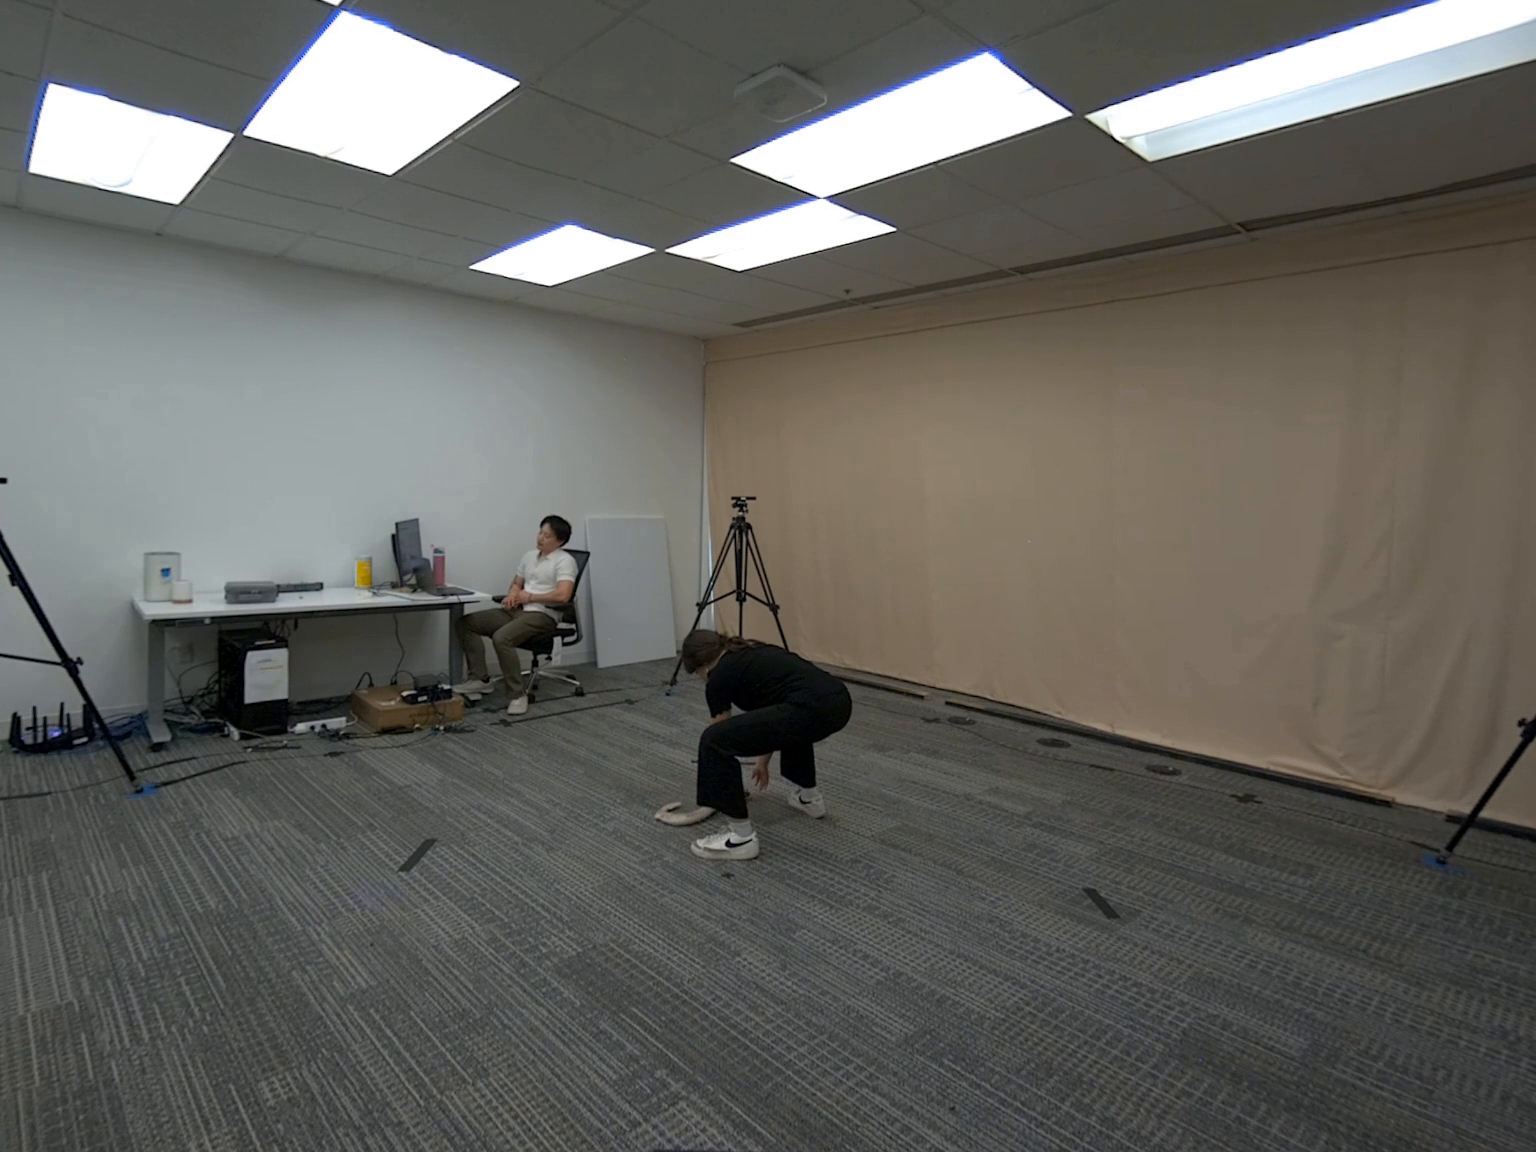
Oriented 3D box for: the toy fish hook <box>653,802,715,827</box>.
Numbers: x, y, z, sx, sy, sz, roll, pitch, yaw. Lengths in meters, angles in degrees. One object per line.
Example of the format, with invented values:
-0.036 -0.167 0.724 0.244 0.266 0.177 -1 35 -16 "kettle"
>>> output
-0.302 1.024 3.762 0.230 0.048 0.495 8 8 40 "toy fish hook"
